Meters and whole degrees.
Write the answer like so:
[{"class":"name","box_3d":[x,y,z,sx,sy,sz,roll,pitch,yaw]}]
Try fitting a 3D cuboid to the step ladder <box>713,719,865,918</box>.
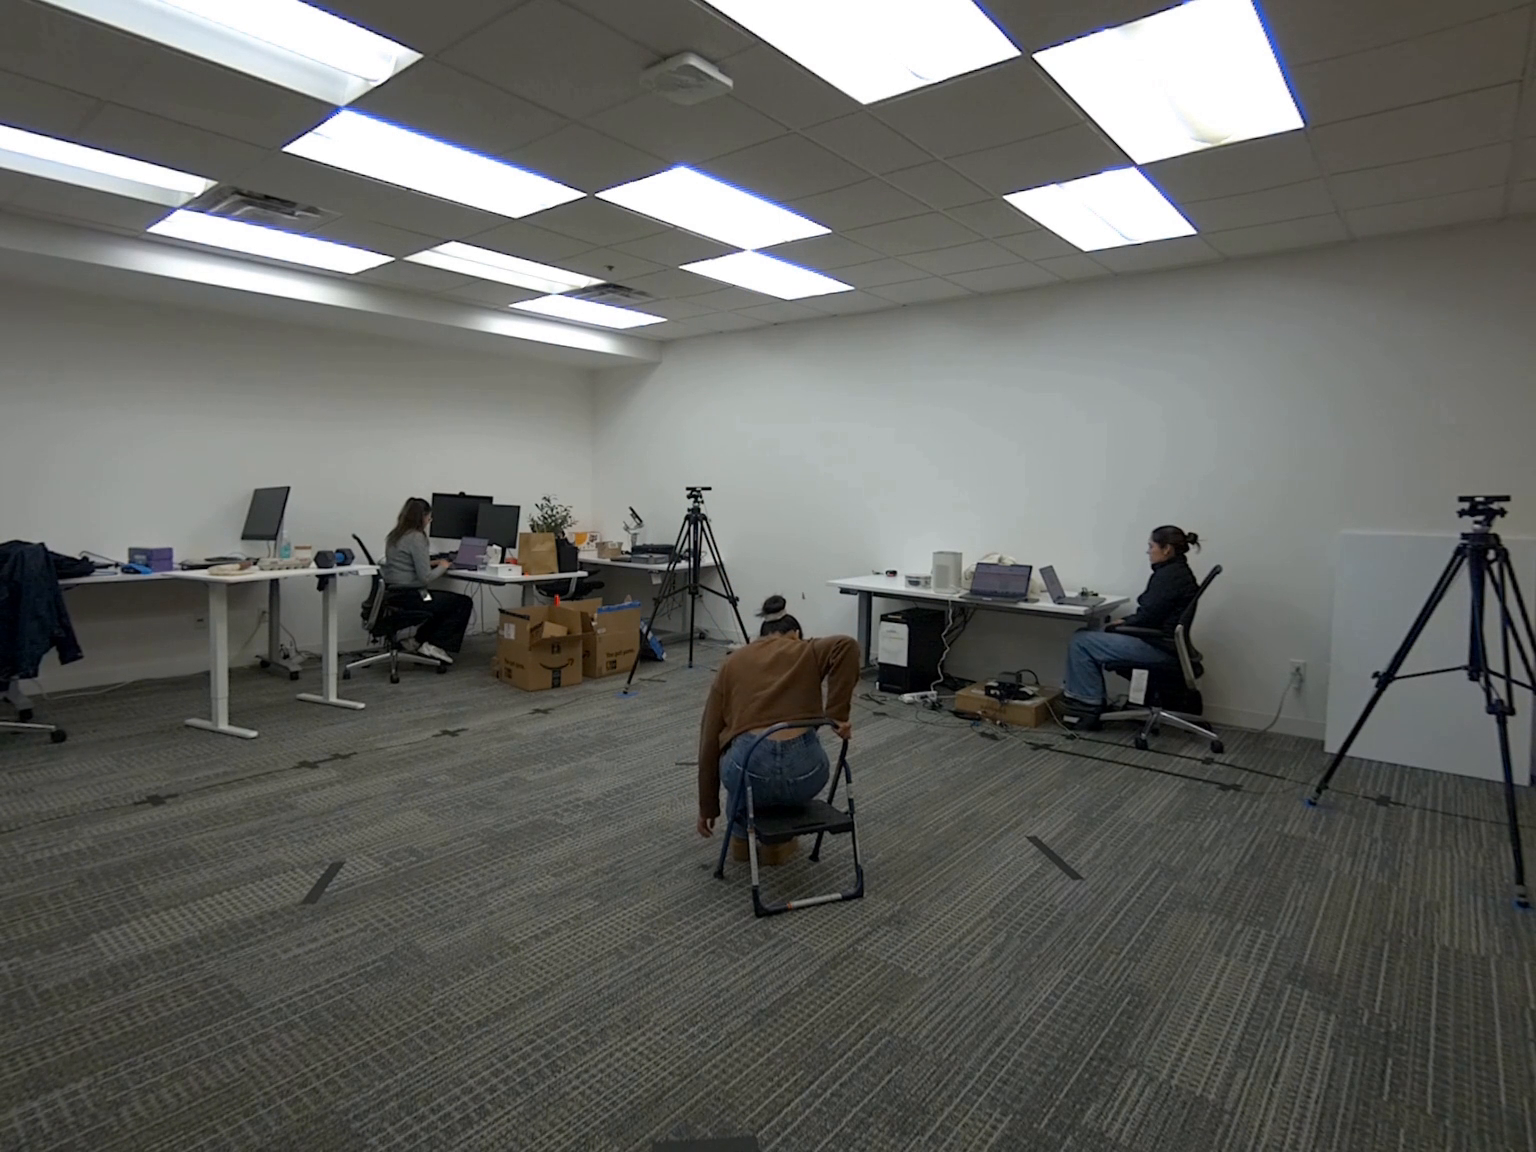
[{"class":"step ladder","box_3d":[0.071,0.785,2.967,0.420,0.604,0.359,0,3,-26]}]
